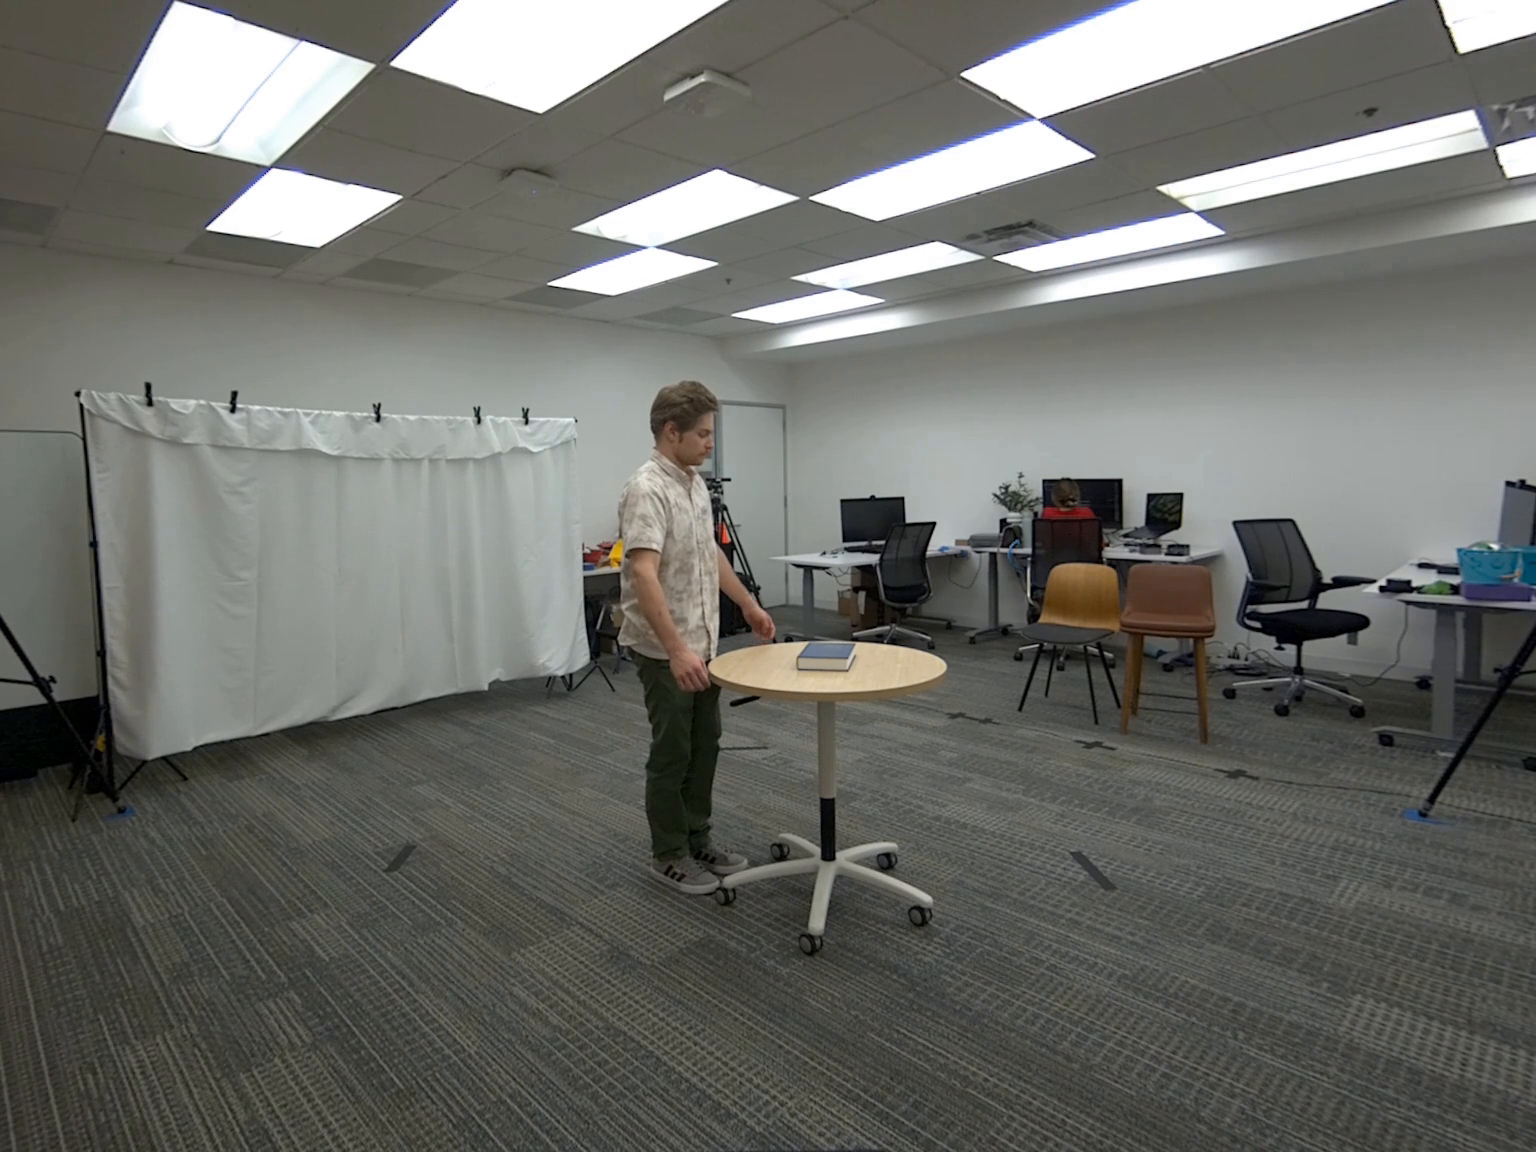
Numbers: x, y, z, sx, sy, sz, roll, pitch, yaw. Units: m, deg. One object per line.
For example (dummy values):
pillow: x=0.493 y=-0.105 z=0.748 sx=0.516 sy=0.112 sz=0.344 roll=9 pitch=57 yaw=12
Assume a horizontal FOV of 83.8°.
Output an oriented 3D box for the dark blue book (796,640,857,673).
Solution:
dark blue book: x=0.196 y=0.259 z=2.780 sx=0.165 sy=0.045 sz=0.243 roll=1 pitch=6 yaw=12
